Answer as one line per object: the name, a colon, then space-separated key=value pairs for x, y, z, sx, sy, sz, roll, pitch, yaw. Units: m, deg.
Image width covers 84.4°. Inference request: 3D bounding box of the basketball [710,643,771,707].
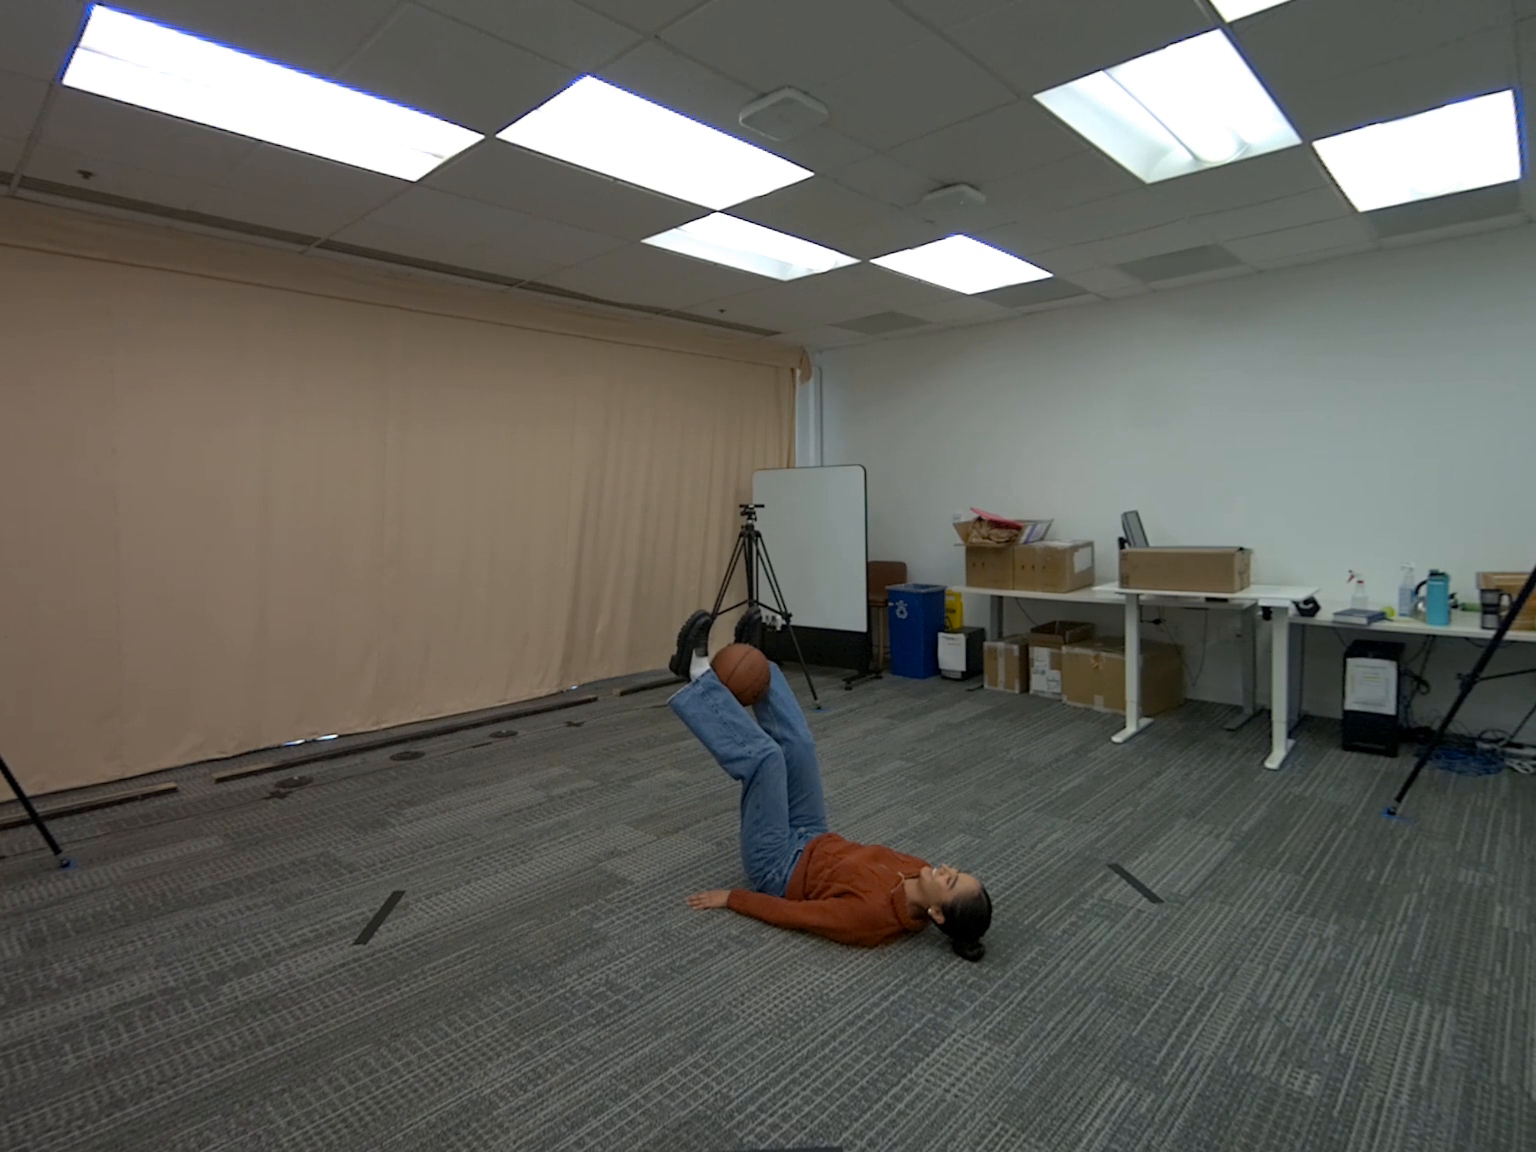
basketball: x=-0.103 y=0.371 z=3.156 sx=0.236 sy=0.235 sz=0.237 roll=-1 pitch=4 yaw=-2
